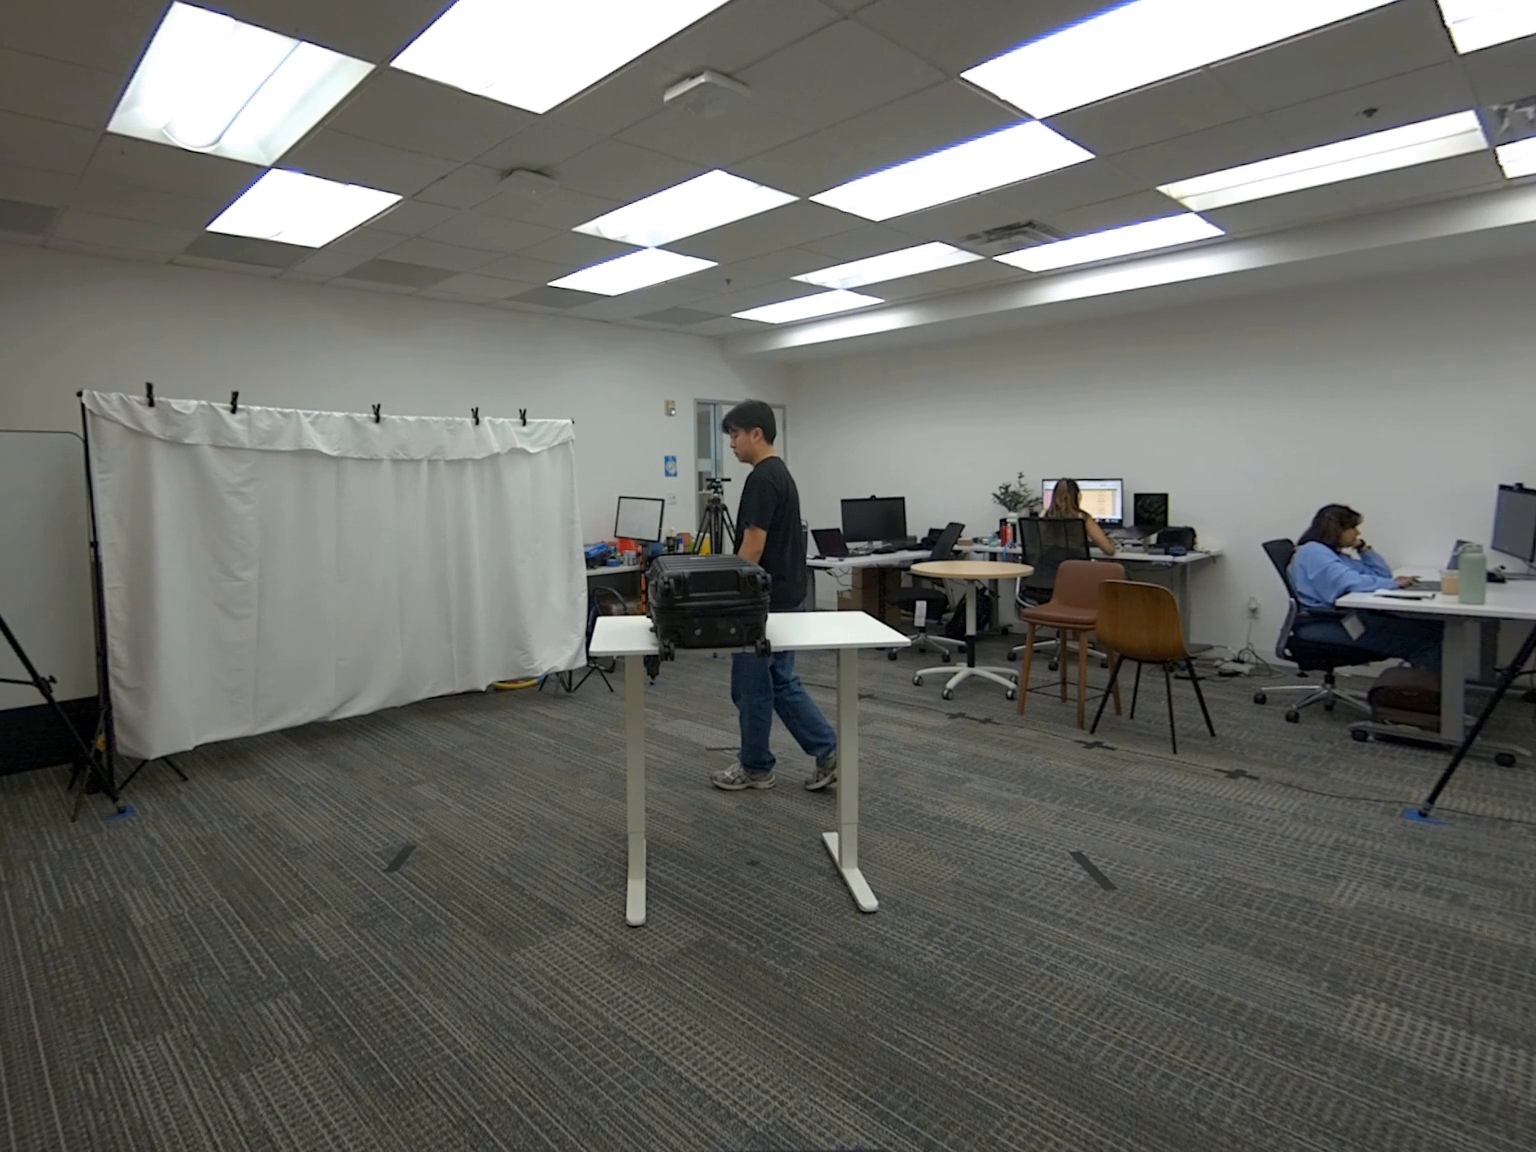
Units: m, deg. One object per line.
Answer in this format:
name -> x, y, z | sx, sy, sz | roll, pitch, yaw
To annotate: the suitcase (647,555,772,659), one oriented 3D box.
suitcase -> -0.245, 0.050, 2.994 | 0.381, 0.255, 0.994 | -3, 9, -10
